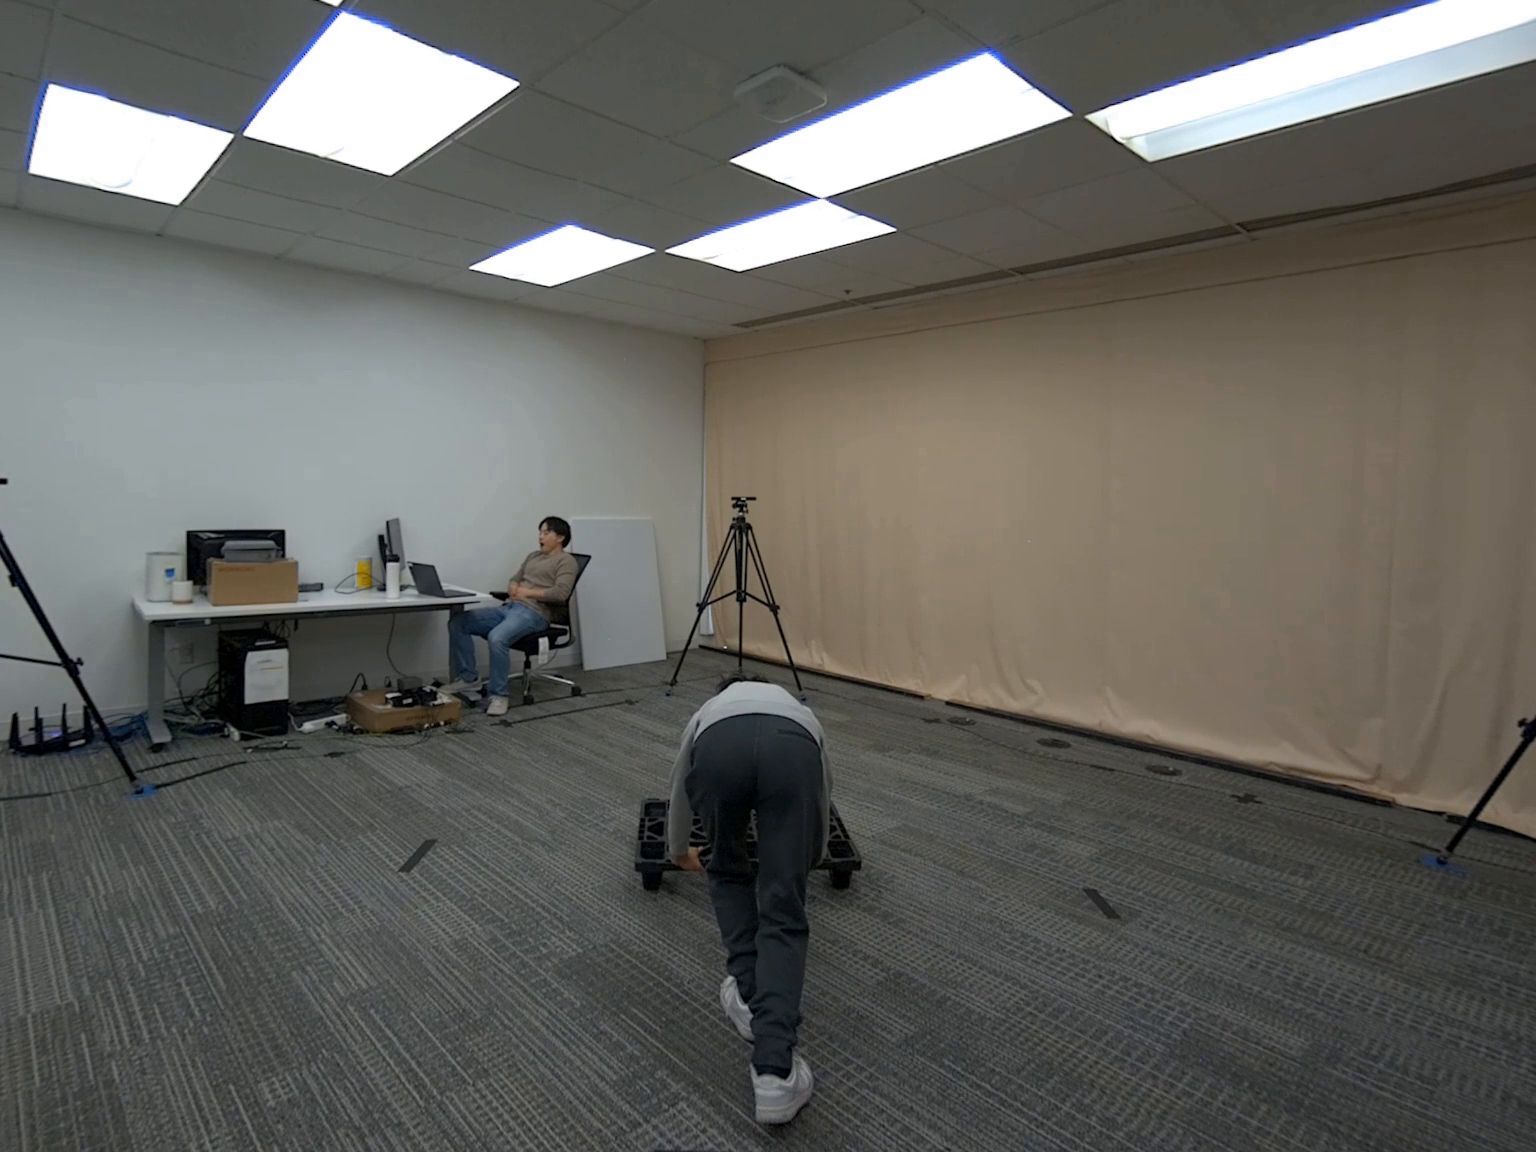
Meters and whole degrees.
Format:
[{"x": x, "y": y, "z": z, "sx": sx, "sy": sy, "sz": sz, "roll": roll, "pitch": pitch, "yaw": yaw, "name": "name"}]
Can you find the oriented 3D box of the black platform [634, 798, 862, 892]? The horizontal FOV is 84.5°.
[{"x": -0.106, "y": 1.028, "z": 3.225, "sx": 0.803, "sy": 0.143, "sz": 0.609, "roll": 1, "pitch": 5, "yaw": -5, "name": "black platform"}]
